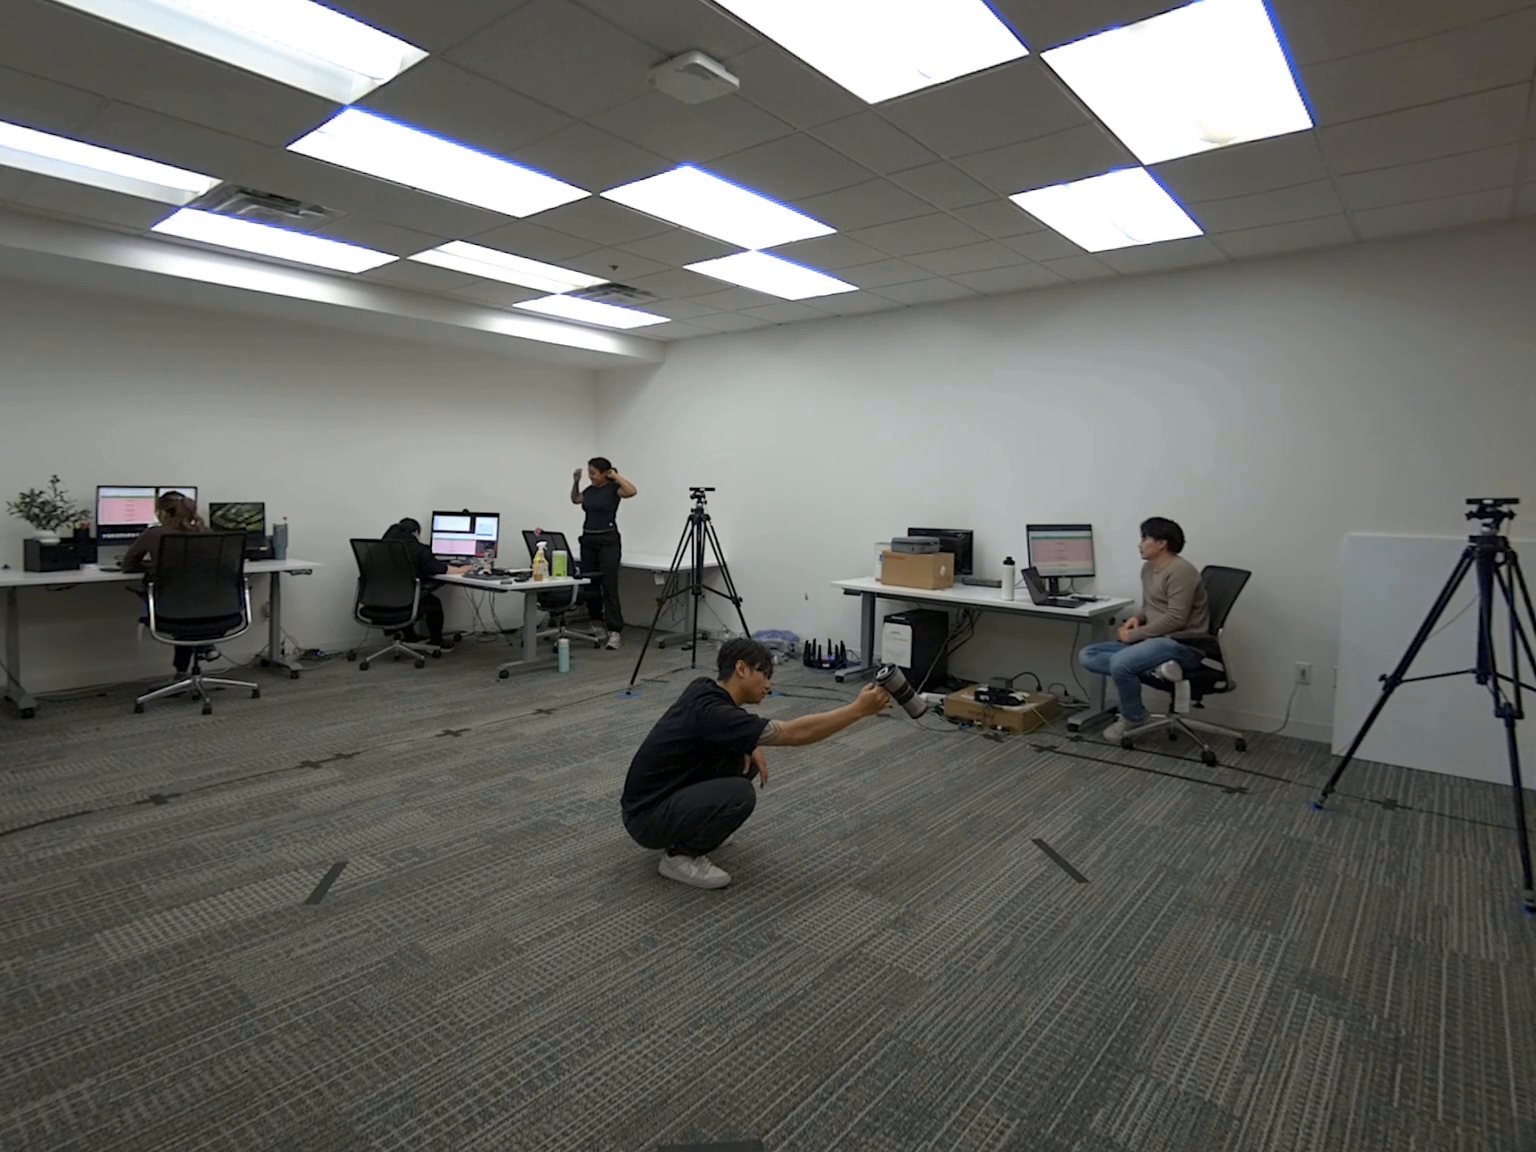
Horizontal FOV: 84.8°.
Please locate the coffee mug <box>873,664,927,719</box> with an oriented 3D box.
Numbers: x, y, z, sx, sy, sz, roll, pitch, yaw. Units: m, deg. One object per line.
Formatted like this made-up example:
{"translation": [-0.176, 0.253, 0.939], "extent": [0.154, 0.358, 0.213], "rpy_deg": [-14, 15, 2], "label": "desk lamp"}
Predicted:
{"translation": [0.454, 0.404, 2.965], "extent": [0.088, 0.201, 0.123], "rpy_deg": [-45, 8, -28], "label": "coffee mug"}
